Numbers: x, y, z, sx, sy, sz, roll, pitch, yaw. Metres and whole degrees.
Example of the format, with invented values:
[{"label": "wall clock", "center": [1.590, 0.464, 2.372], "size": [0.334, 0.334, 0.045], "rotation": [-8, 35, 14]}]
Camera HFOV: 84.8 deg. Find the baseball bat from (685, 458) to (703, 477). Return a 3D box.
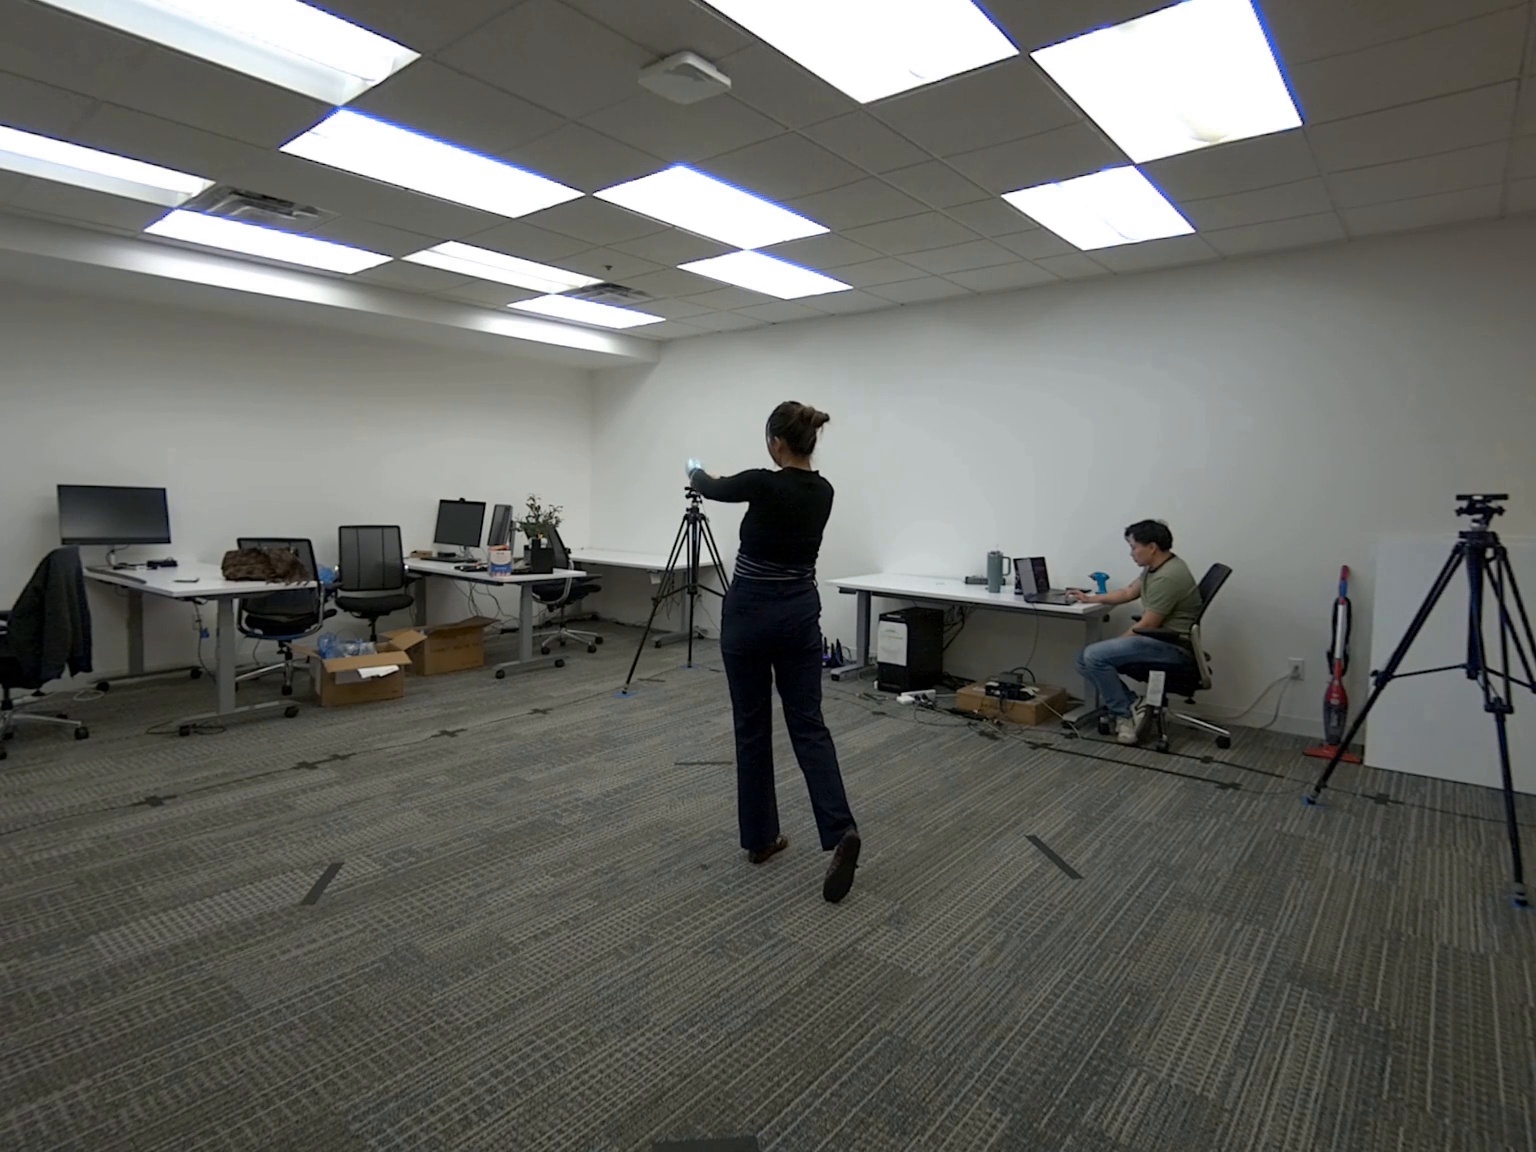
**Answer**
[{"label": "baseball bat", "center": [-0.314, -0.445, 3.760], "size": [0.088, 0.088, 0.553], "rotation": [0, 15, -6]}]
